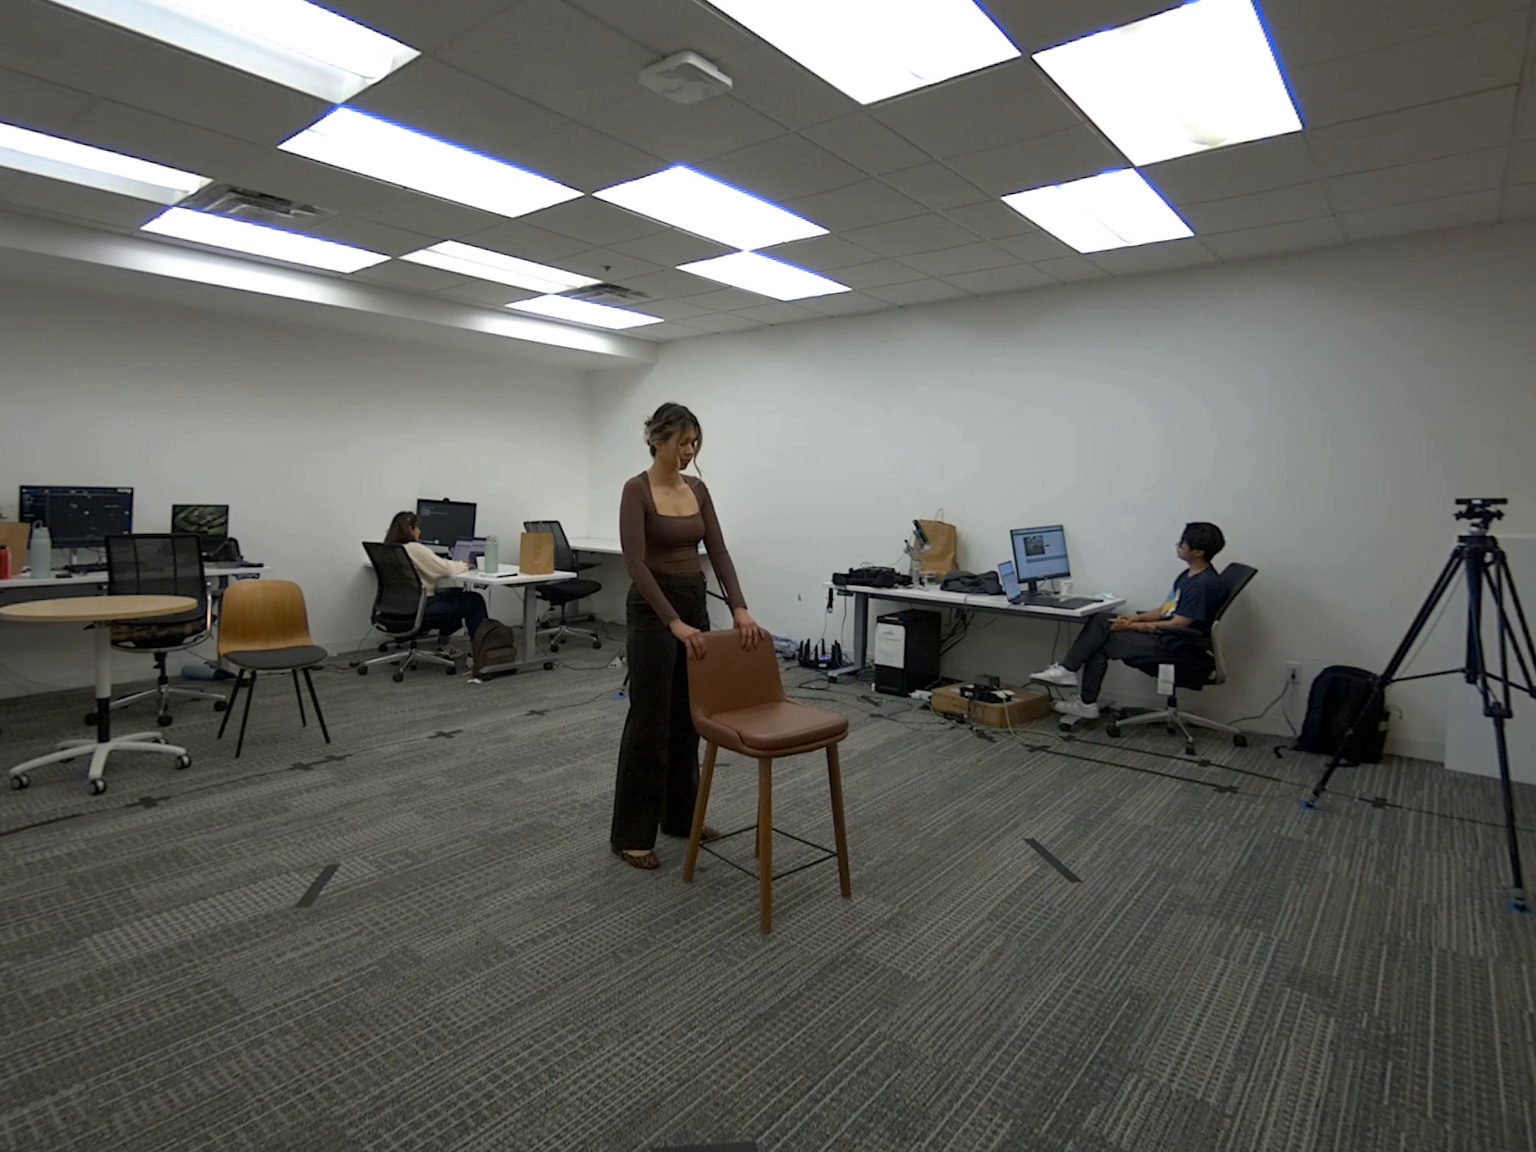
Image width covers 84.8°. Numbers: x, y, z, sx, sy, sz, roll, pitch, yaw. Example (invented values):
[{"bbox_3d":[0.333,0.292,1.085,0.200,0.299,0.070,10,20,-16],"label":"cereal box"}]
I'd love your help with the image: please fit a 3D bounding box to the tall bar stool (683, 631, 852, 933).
[{"bbox_3d":[-0.018,0.650,2.950,0.442,0.889,0.483,-1,2,-41],"label":"tall bar stool"}]
